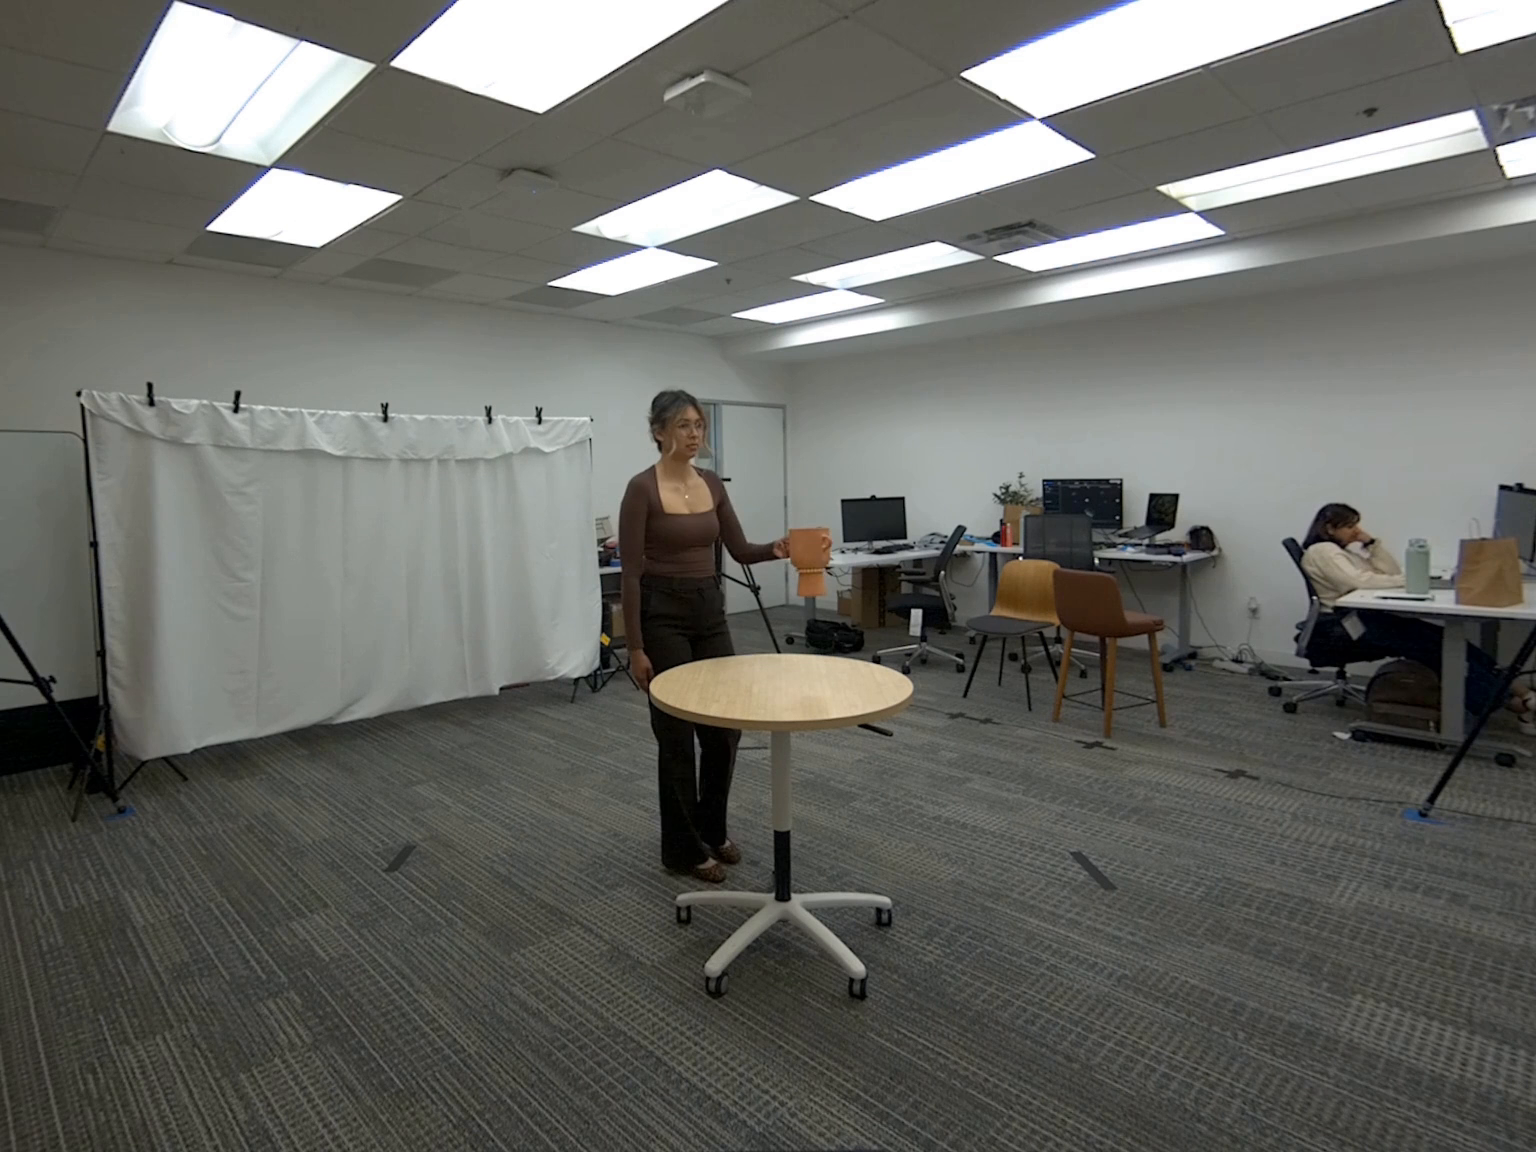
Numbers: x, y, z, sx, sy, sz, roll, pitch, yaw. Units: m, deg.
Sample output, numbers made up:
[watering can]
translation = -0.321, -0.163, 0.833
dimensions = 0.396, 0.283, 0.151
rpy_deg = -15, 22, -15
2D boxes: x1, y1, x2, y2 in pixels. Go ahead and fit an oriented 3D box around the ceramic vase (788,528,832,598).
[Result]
[ceramic vase]
translation = 0.143, -0.046, 2.792
dimensions = 0.134, 0.219, 0.159
rpy_deg = -2, 2, -3
